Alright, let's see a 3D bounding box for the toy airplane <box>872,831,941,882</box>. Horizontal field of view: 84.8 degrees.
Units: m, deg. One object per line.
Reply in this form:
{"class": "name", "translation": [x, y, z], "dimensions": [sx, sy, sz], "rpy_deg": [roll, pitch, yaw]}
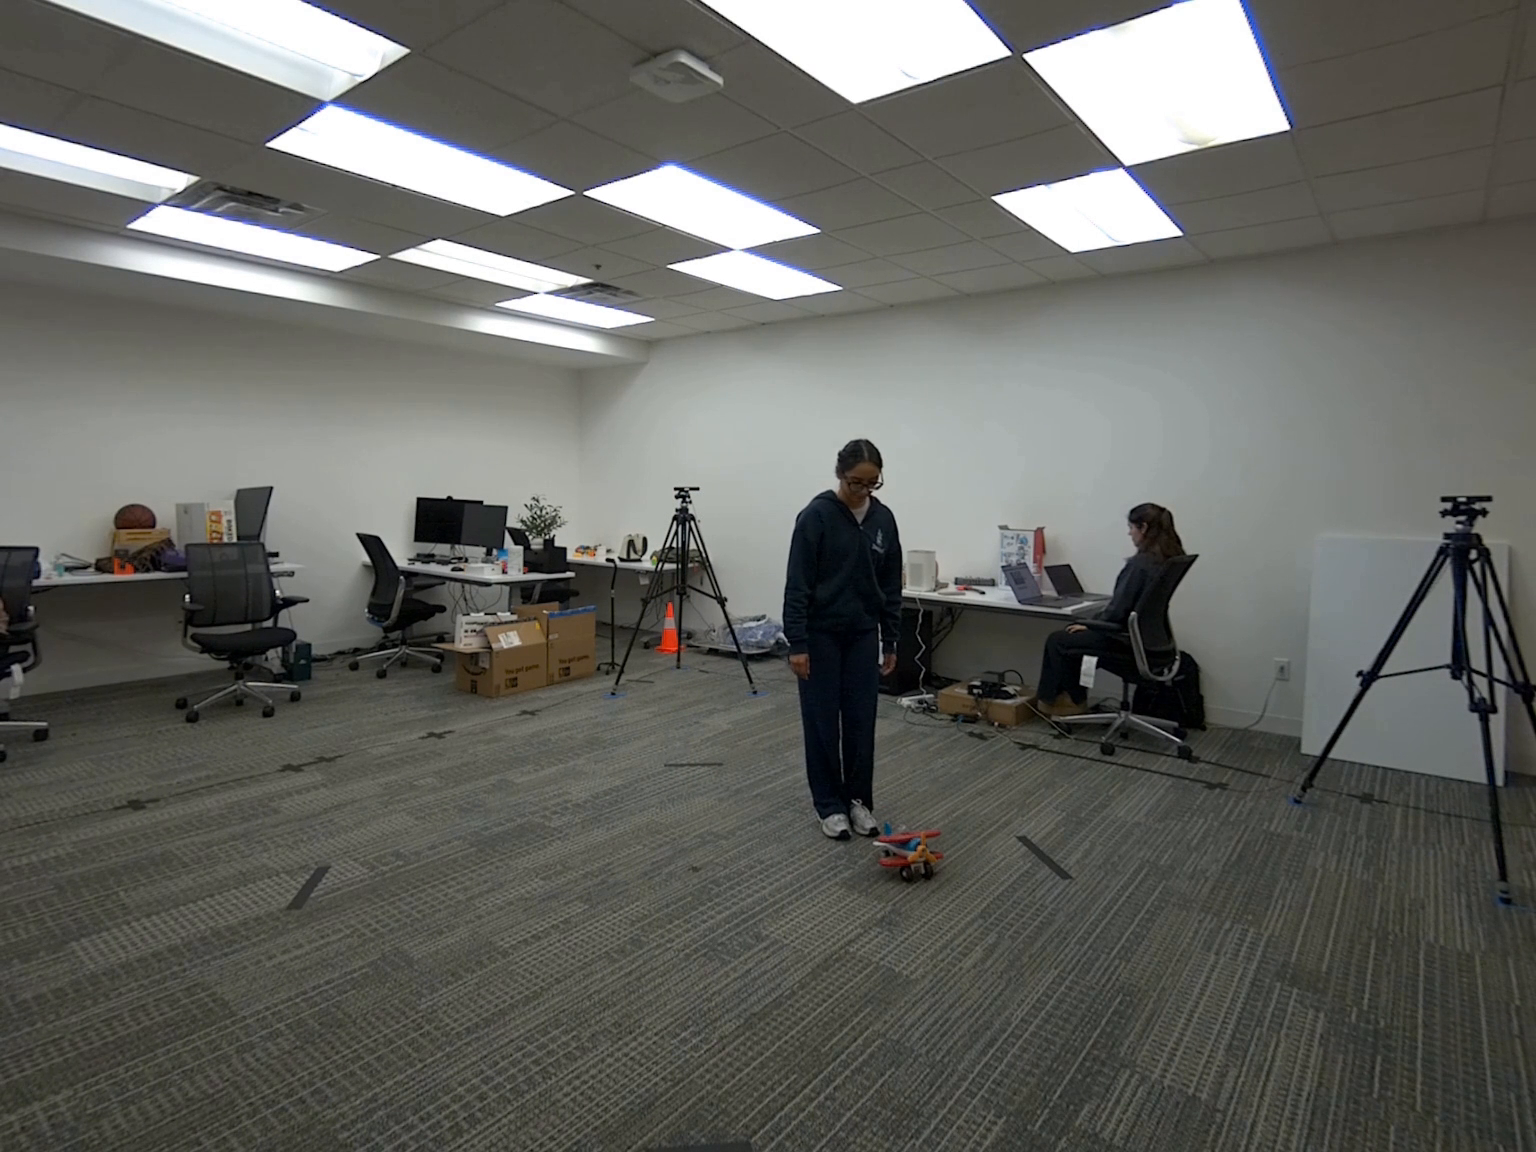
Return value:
{"class": "toy airplane", "translation": [0.477, 1.003, 3.133], "dimensions": [0.268, 0.156, 0.244], "rpy_deg": [8, 8, 38]}
